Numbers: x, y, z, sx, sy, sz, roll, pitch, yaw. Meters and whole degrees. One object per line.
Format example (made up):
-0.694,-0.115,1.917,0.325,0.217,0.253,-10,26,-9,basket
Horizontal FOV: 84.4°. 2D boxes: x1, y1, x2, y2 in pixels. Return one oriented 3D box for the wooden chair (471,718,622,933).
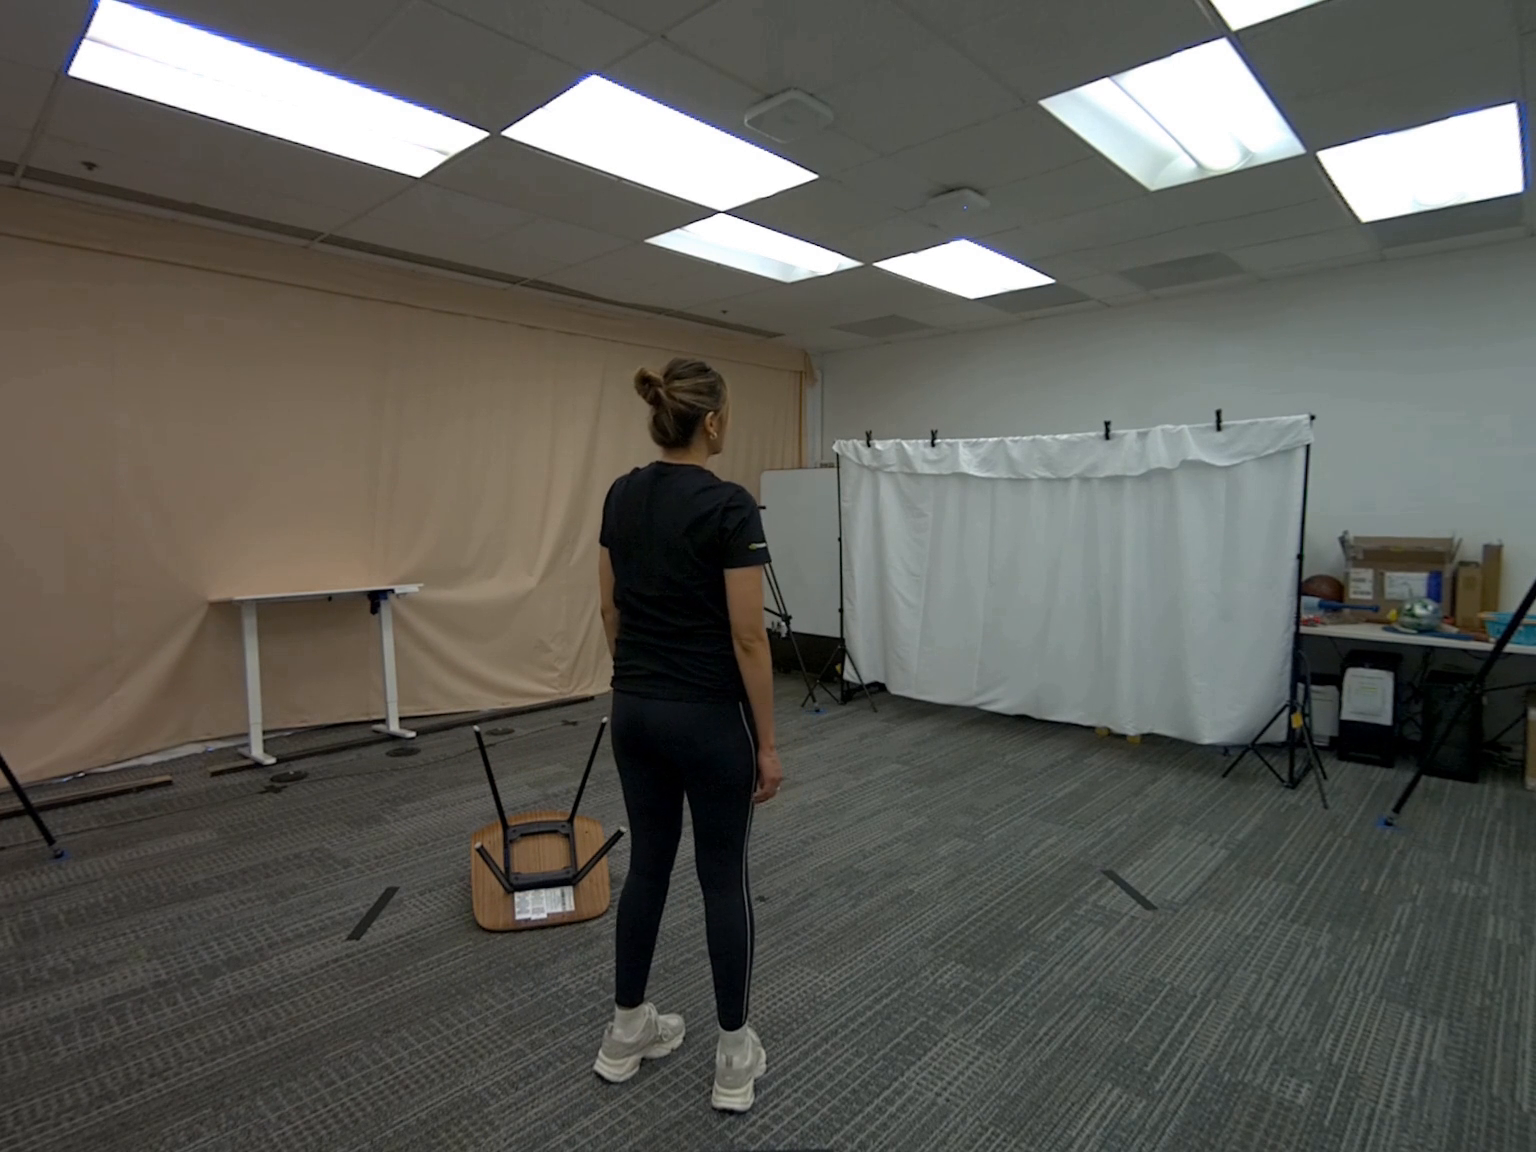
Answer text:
-0.803,0.981,2.961,0.469,0.869,0.538,-1,44,-20,wooden chair
